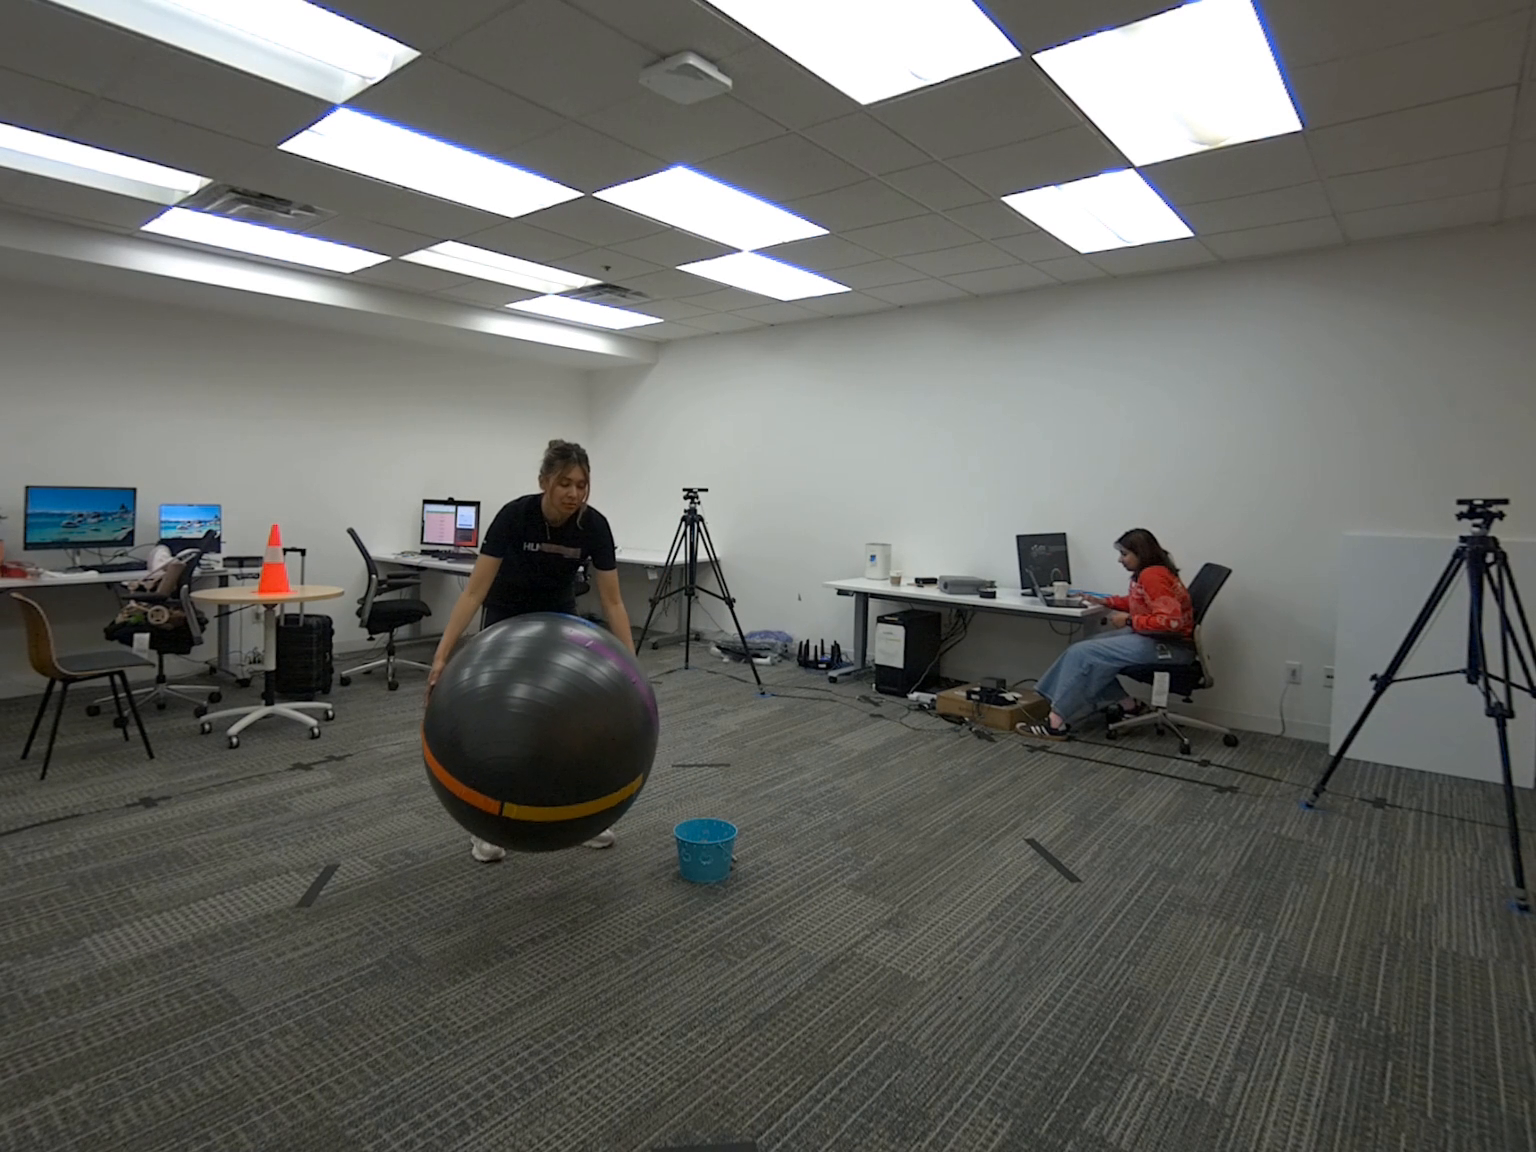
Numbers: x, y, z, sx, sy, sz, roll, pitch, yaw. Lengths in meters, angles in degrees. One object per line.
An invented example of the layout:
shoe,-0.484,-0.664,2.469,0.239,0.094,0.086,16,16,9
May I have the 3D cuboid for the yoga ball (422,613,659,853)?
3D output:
yoga ball,-0.739,0.508,2.775,0.757,0.755,0.762,1,4,-2
